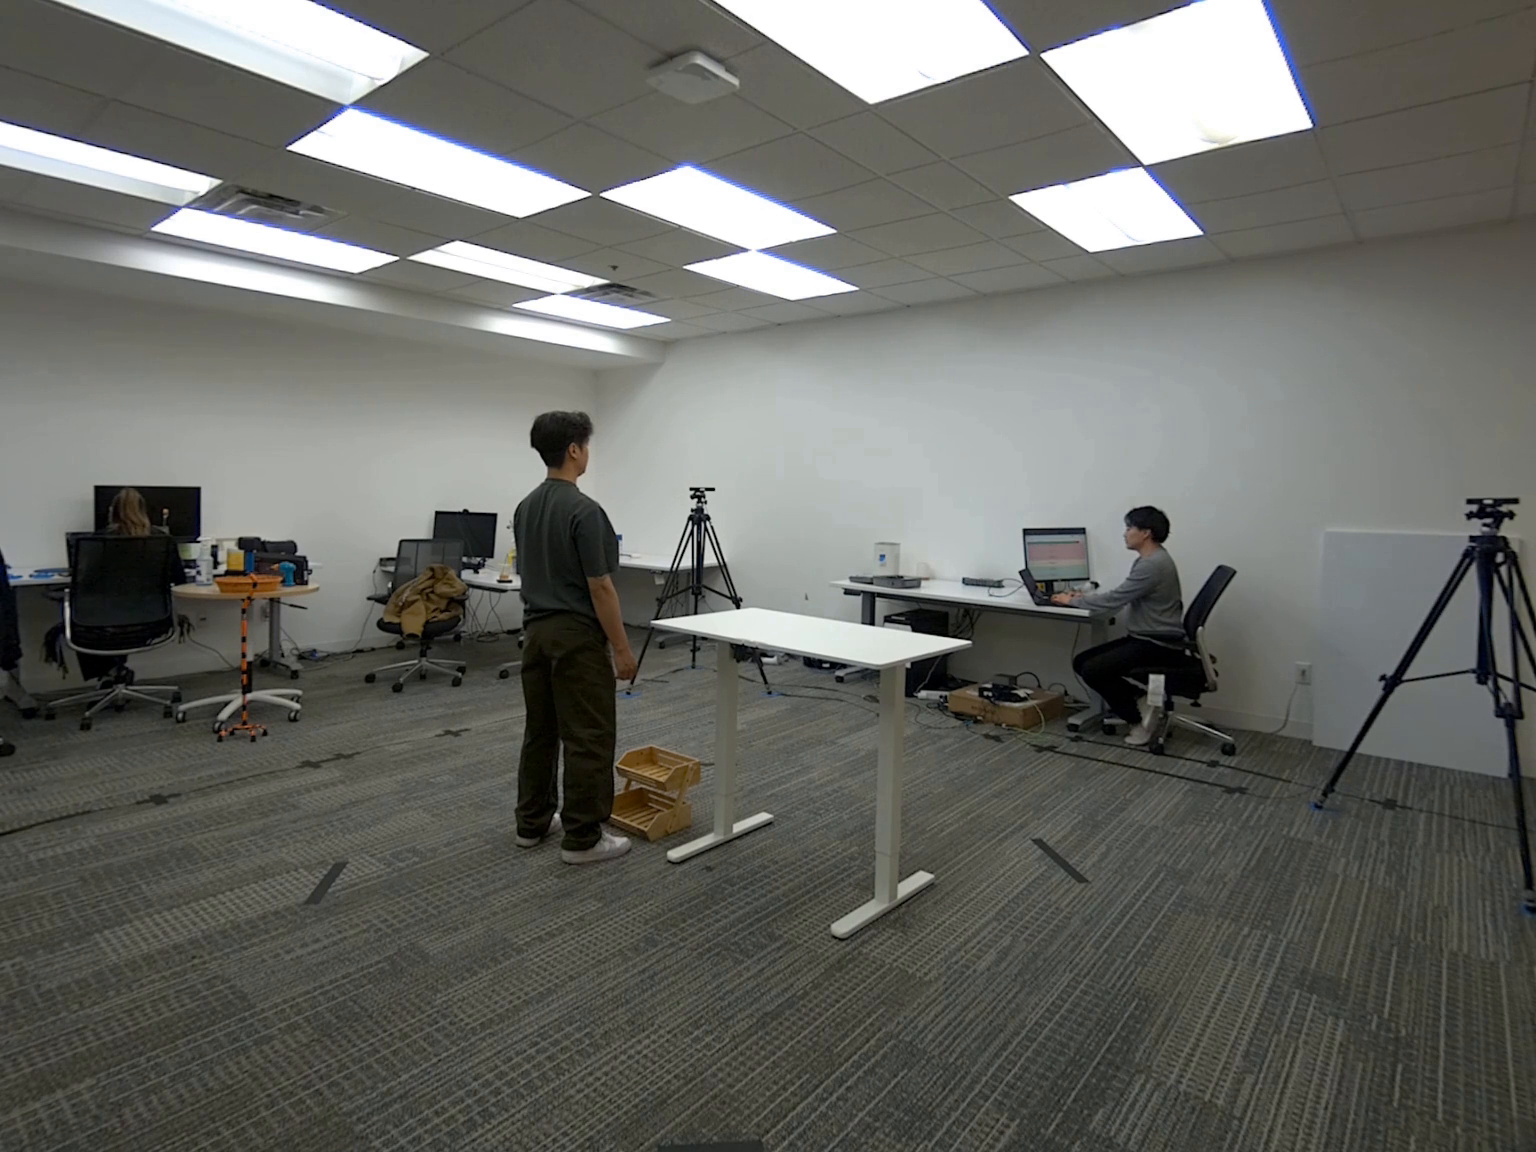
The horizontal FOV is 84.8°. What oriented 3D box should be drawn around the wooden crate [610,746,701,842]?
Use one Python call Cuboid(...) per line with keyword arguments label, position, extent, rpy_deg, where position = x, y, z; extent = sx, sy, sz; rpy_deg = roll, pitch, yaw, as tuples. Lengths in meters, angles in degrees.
Cuboid(label="wooden crate", position=(-0.509, 0.884, 3.531), extent=(0.335, 0.273, 0.293), rpy_deg=(4, 5, 41))
